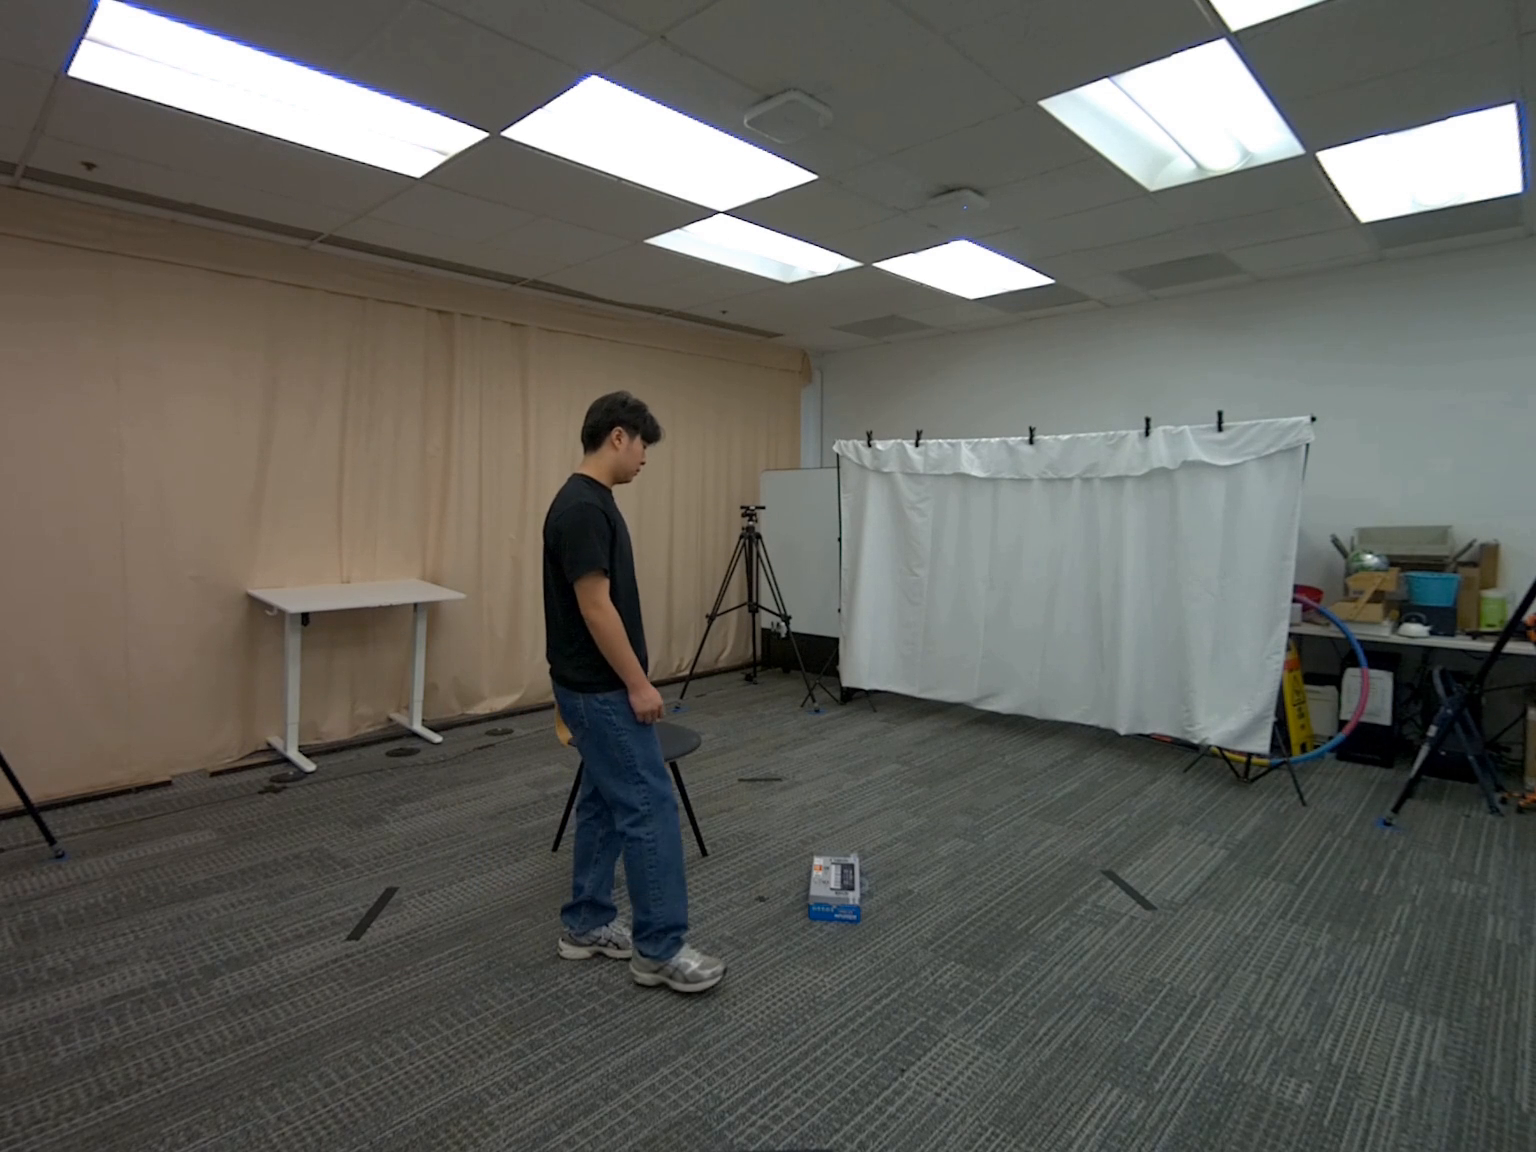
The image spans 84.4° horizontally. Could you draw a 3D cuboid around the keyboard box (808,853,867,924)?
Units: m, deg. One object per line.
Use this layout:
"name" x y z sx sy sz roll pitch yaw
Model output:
"keyboard box" 0.247 1.110 3.033 0.177 0.059 0.434 0 5 6
